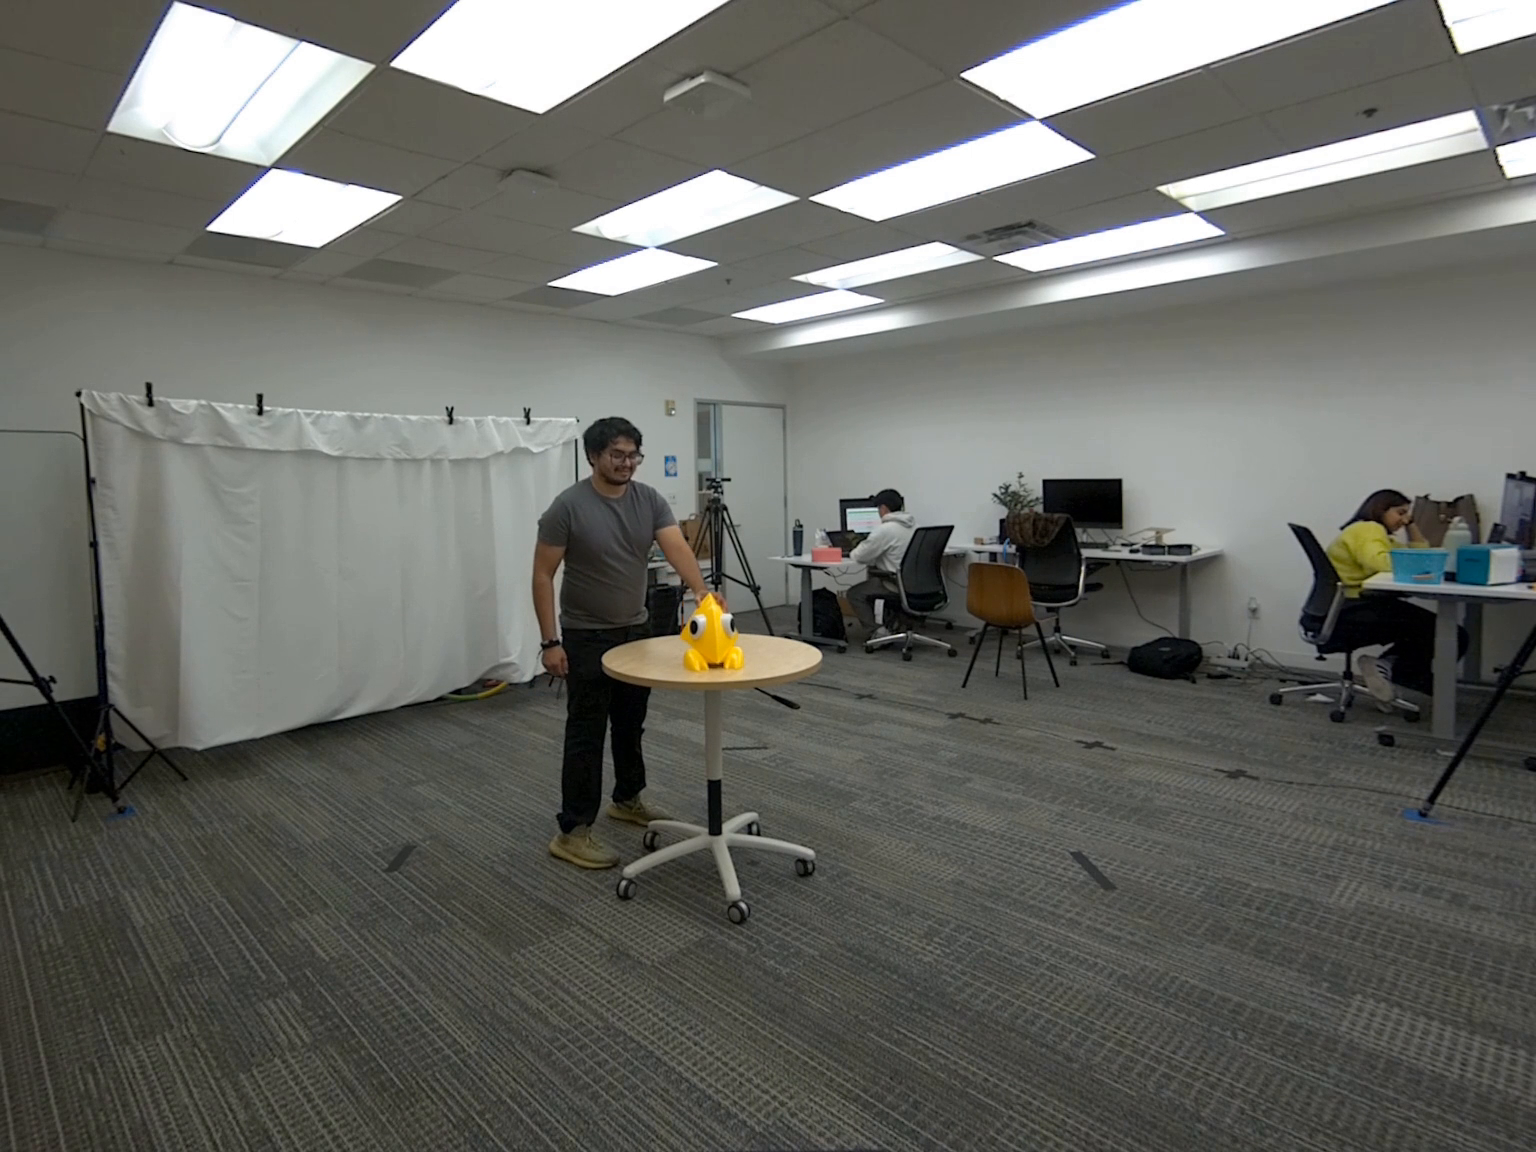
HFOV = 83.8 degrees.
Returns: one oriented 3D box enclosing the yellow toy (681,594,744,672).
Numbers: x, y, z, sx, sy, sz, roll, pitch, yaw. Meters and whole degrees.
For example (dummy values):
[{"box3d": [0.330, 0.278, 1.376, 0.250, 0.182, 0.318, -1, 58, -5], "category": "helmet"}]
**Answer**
[{"box3d": [-0.174, 0.179, 2.832, 0.203, 0.229, 0.196, -1, 6, -11], "category": "yellow toy"}]
